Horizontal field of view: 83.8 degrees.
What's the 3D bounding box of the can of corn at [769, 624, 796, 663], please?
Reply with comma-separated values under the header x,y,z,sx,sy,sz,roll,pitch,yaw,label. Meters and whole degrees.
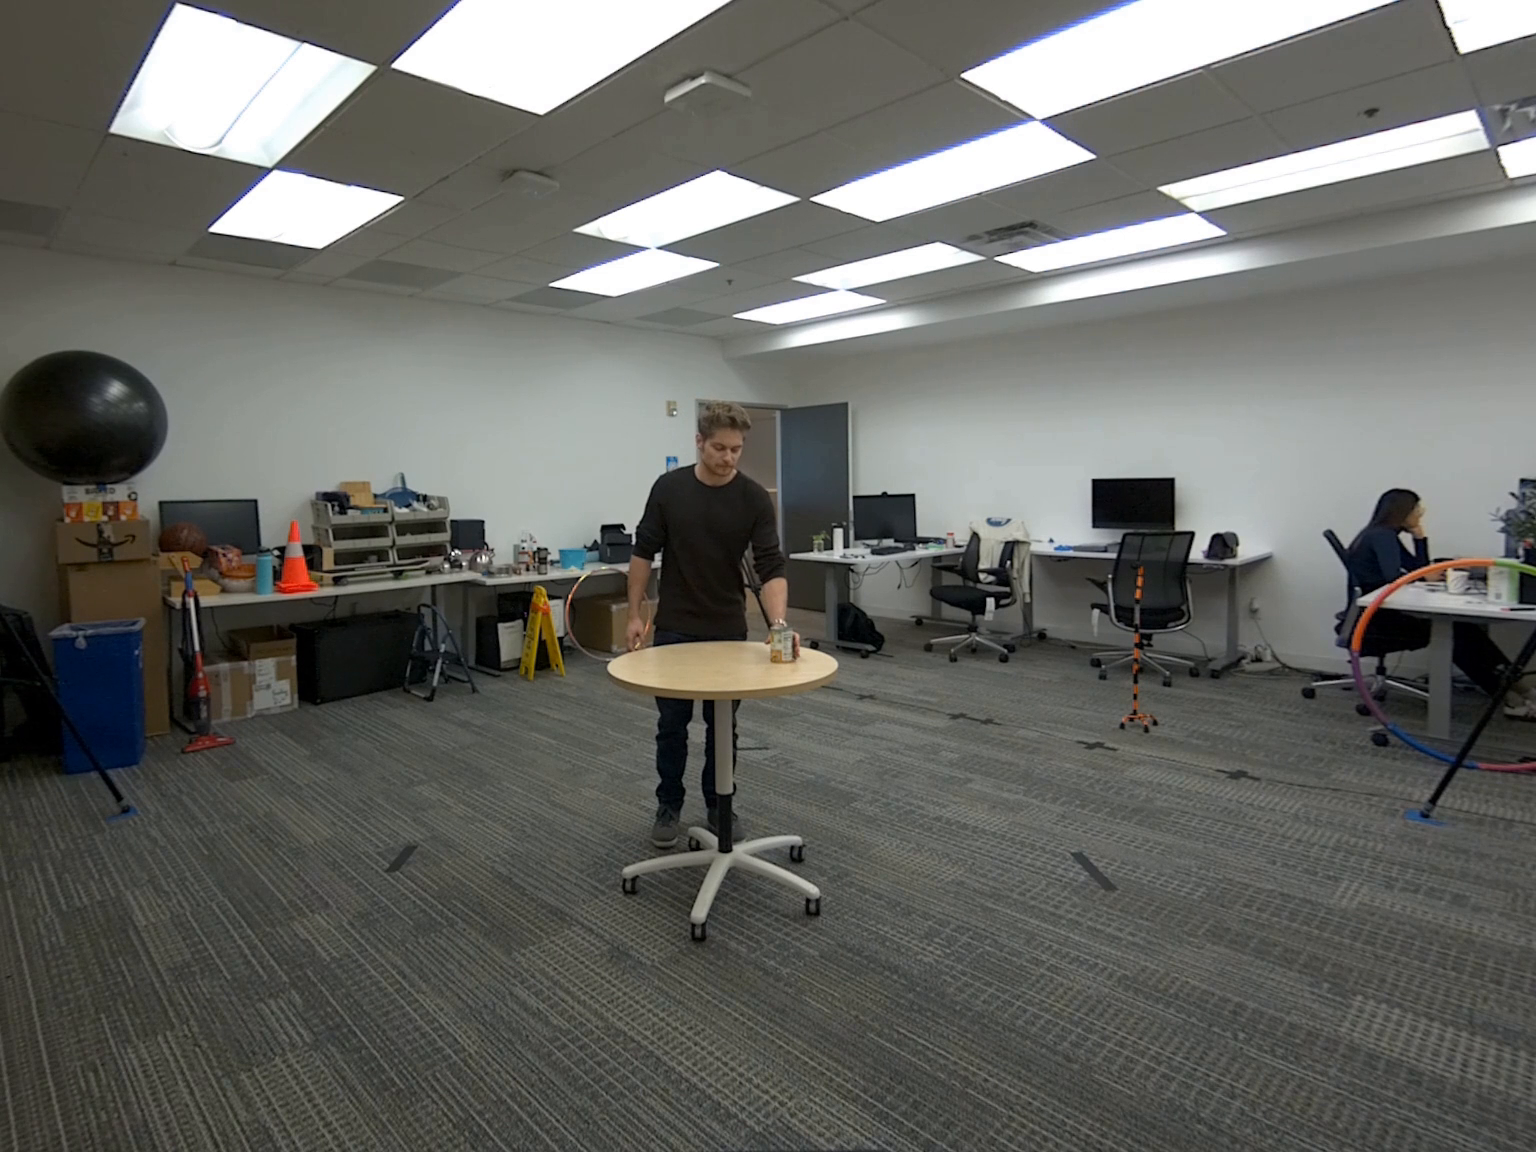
x,y,z,sx,sy,sz,roll,pitch,yaw,label
0.049,0.232,2.856,0.074,0.110,0.074,2,5,-2,can of corn
